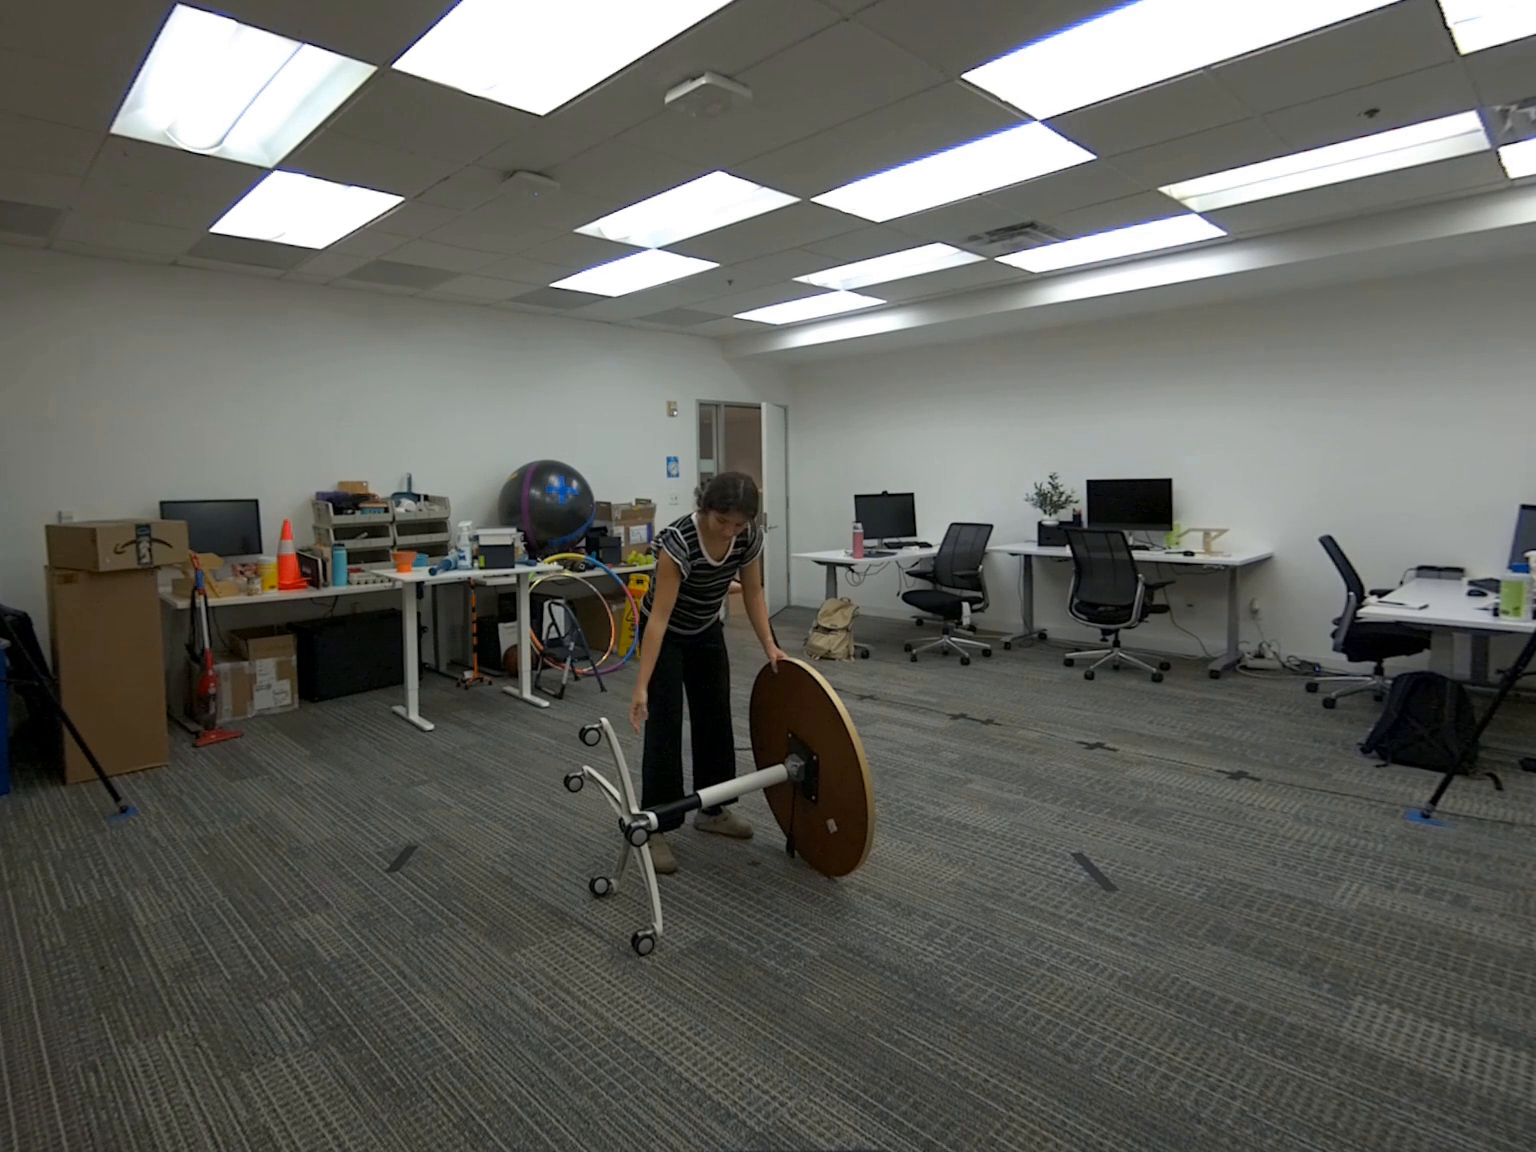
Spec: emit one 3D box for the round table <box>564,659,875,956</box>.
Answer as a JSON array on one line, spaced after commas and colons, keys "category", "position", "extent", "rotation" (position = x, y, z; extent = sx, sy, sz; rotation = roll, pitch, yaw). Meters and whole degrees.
[{"category": "round table", "position": [-0.194, 0.738, 2.853], "extent": [0.779, 0.758, 0.784], "rotation": [-11, 9, -28]}]
